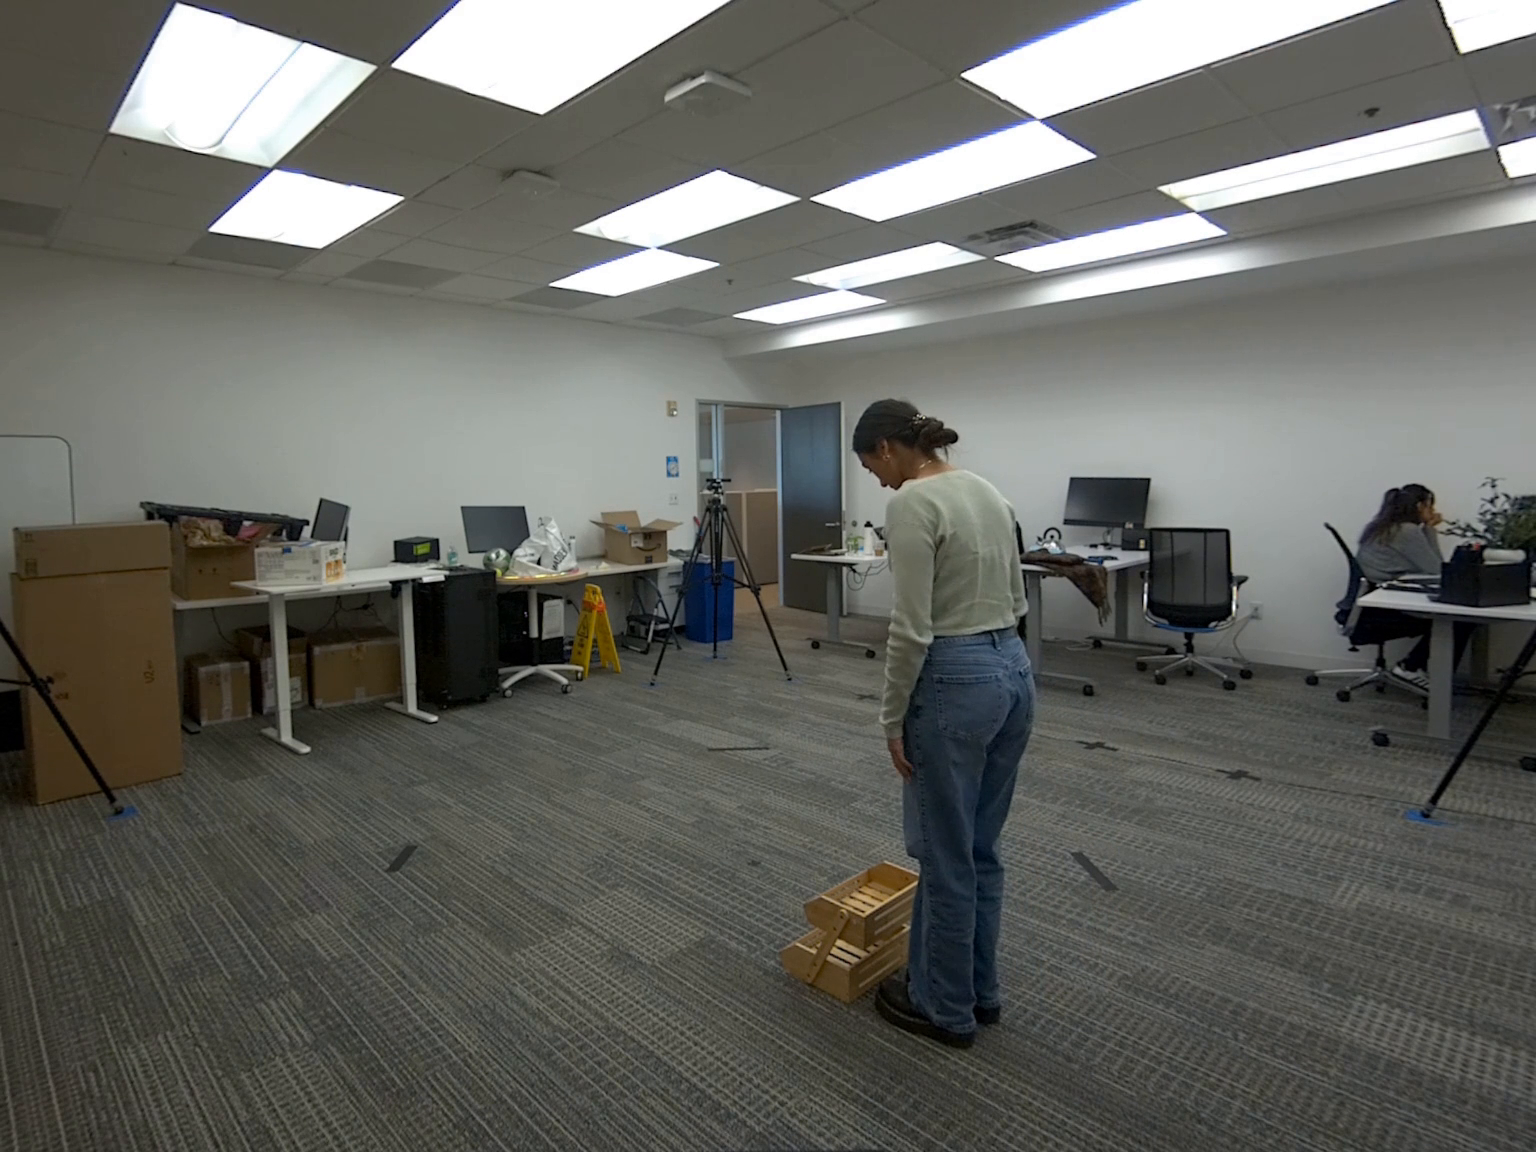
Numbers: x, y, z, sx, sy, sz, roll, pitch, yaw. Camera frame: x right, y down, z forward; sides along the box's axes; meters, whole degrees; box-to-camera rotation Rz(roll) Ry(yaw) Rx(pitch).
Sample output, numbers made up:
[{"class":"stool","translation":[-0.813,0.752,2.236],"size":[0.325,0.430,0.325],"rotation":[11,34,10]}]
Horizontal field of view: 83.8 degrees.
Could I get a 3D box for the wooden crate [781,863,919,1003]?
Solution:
[{"class":"wooden crate","translation":[0.248,0.983,2.430],"size":[0.311,0.272,0.316],"rotation":[5,8,44]}]
